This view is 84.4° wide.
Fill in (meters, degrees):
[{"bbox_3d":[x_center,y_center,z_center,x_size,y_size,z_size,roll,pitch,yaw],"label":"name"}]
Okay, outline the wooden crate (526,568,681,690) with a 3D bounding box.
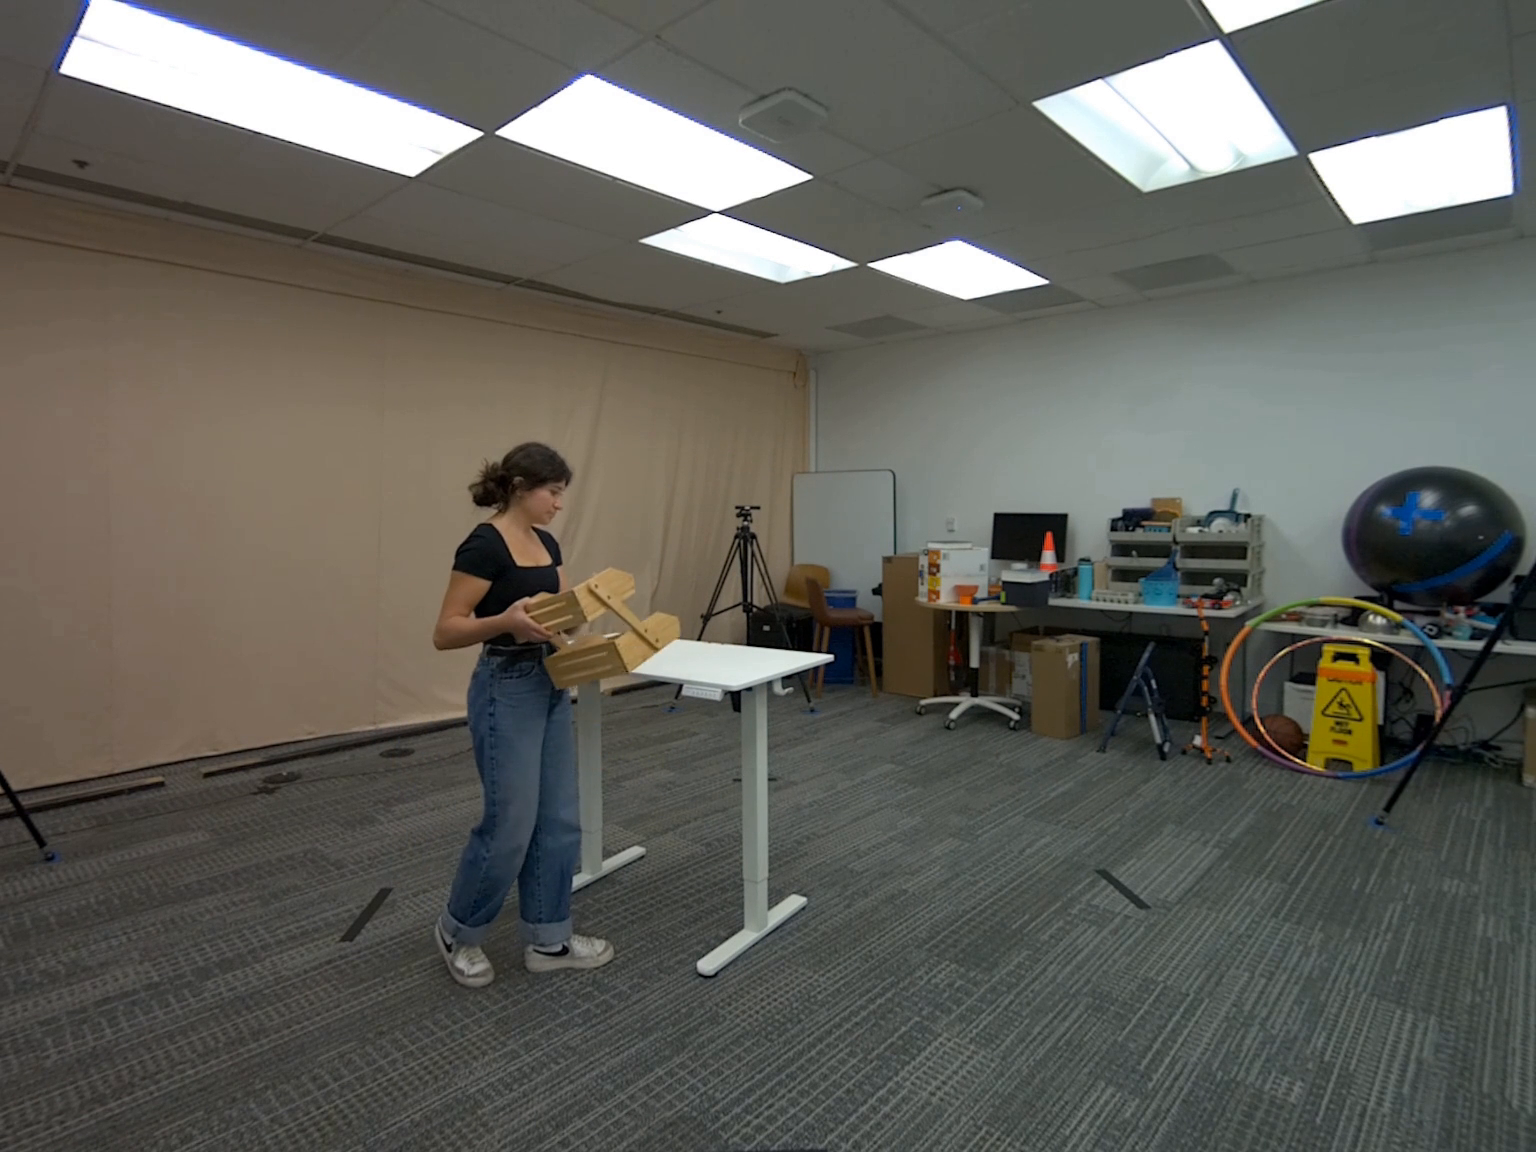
[{"bbox_3d":[-0.470,0.132,2.293,0.332,0.271,0.297,-17,11,36],"label":"wooden crate"}]
